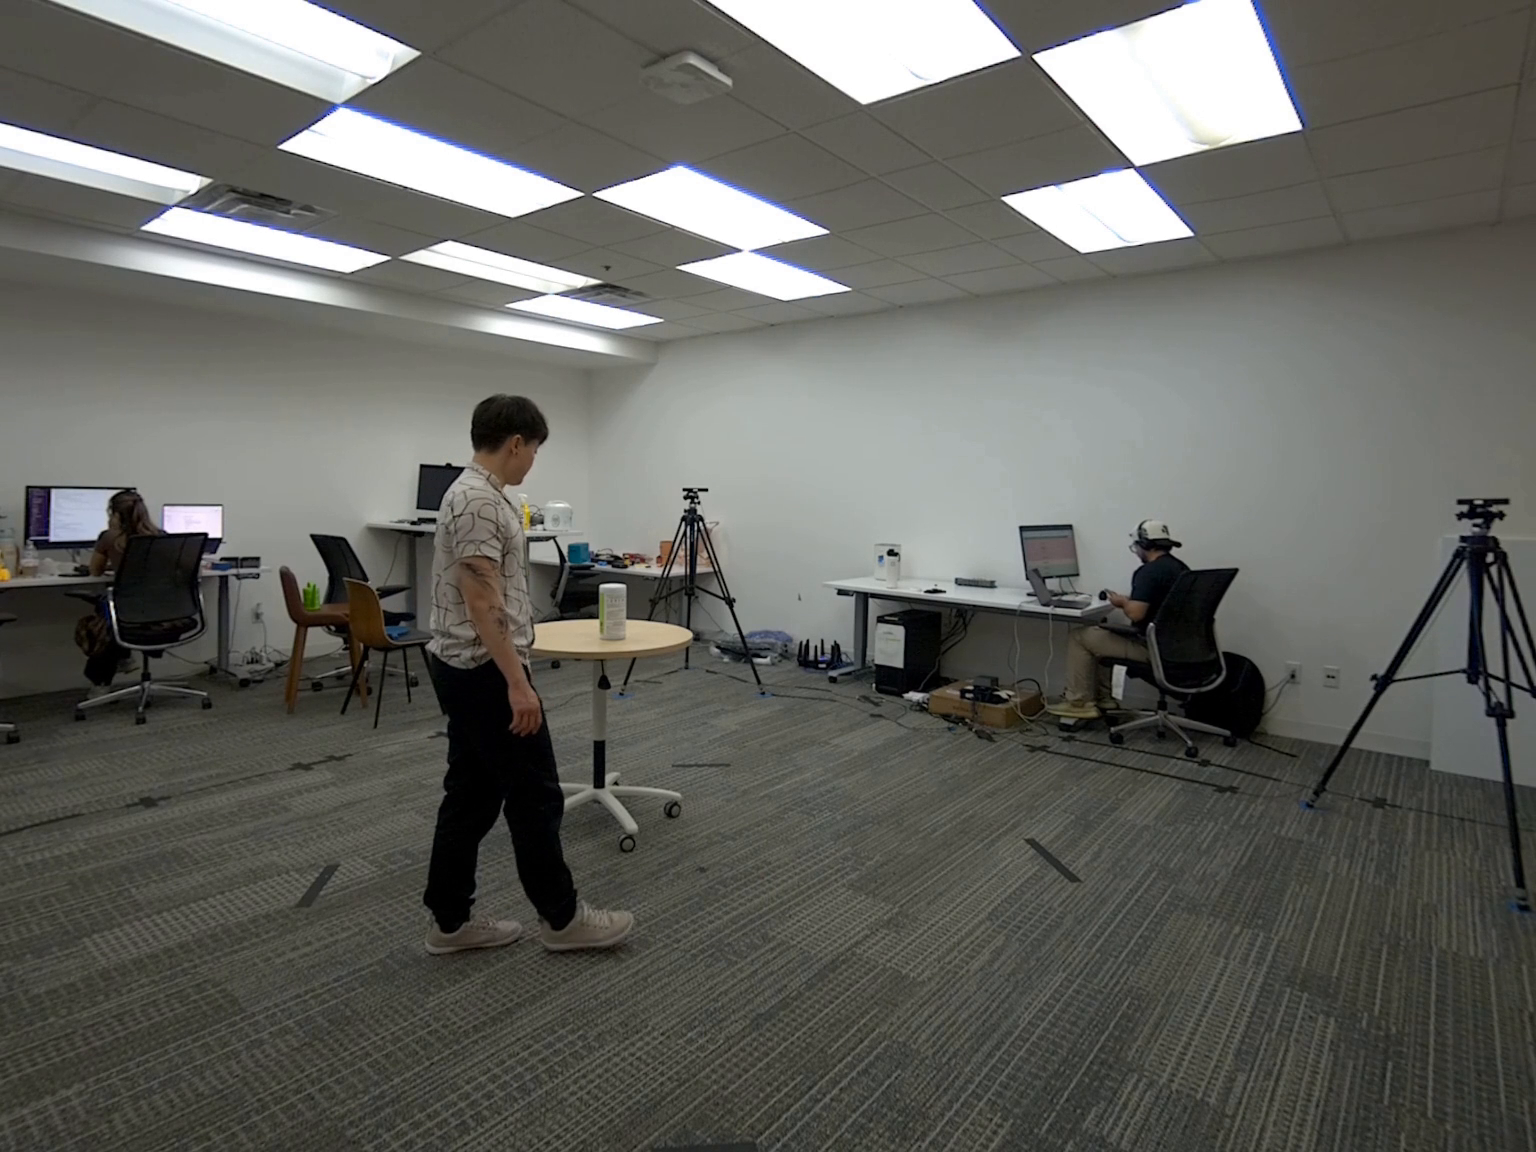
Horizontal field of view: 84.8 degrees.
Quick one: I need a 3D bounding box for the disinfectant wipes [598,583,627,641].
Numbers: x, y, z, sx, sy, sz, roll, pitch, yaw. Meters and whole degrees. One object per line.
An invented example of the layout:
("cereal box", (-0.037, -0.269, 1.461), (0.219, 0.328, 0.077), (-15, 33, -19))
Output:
("disinfectant wipes", (-0.634, 0.142, 3.426), (0.118, 0.217, 0.118), (0, 3, -2))
